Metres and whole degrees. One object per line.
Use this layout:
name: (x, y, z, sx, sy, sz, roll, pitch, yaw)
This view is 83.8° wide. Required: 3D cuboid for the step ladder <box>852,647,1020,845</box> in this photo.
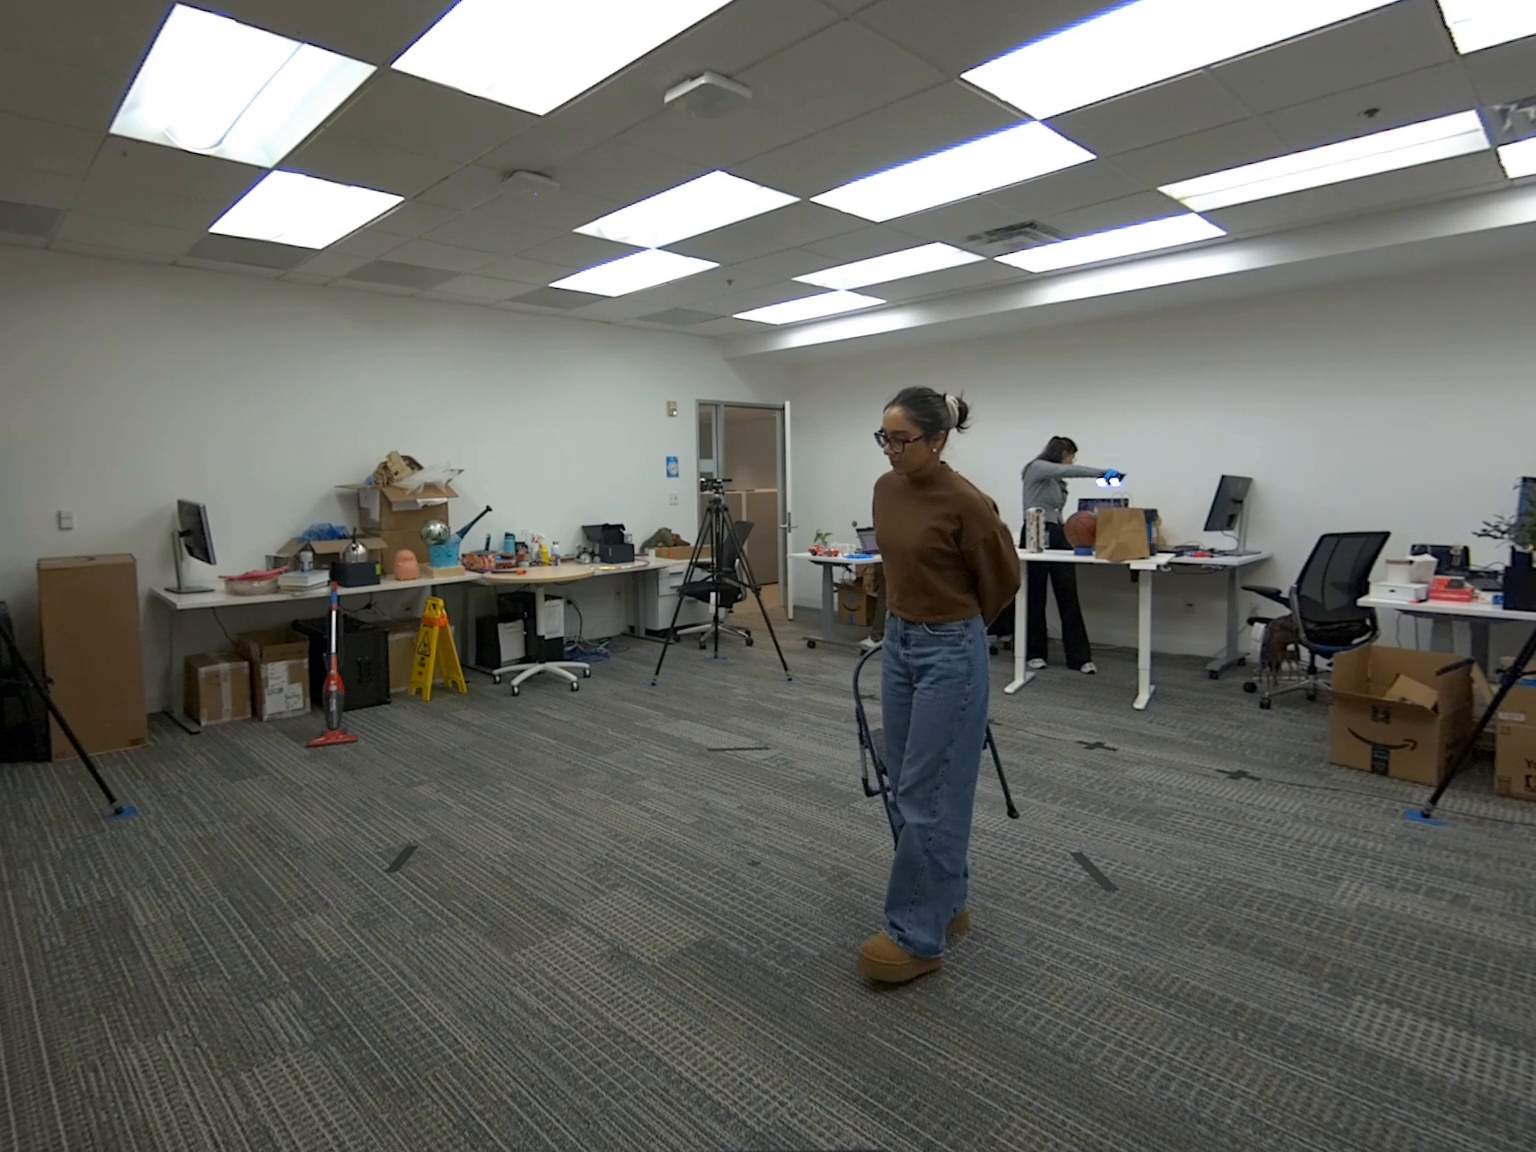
step ladder: (0.530, 0.518, 2.836, 0.428, 0.595, 0.358, -15, 18, -8)
